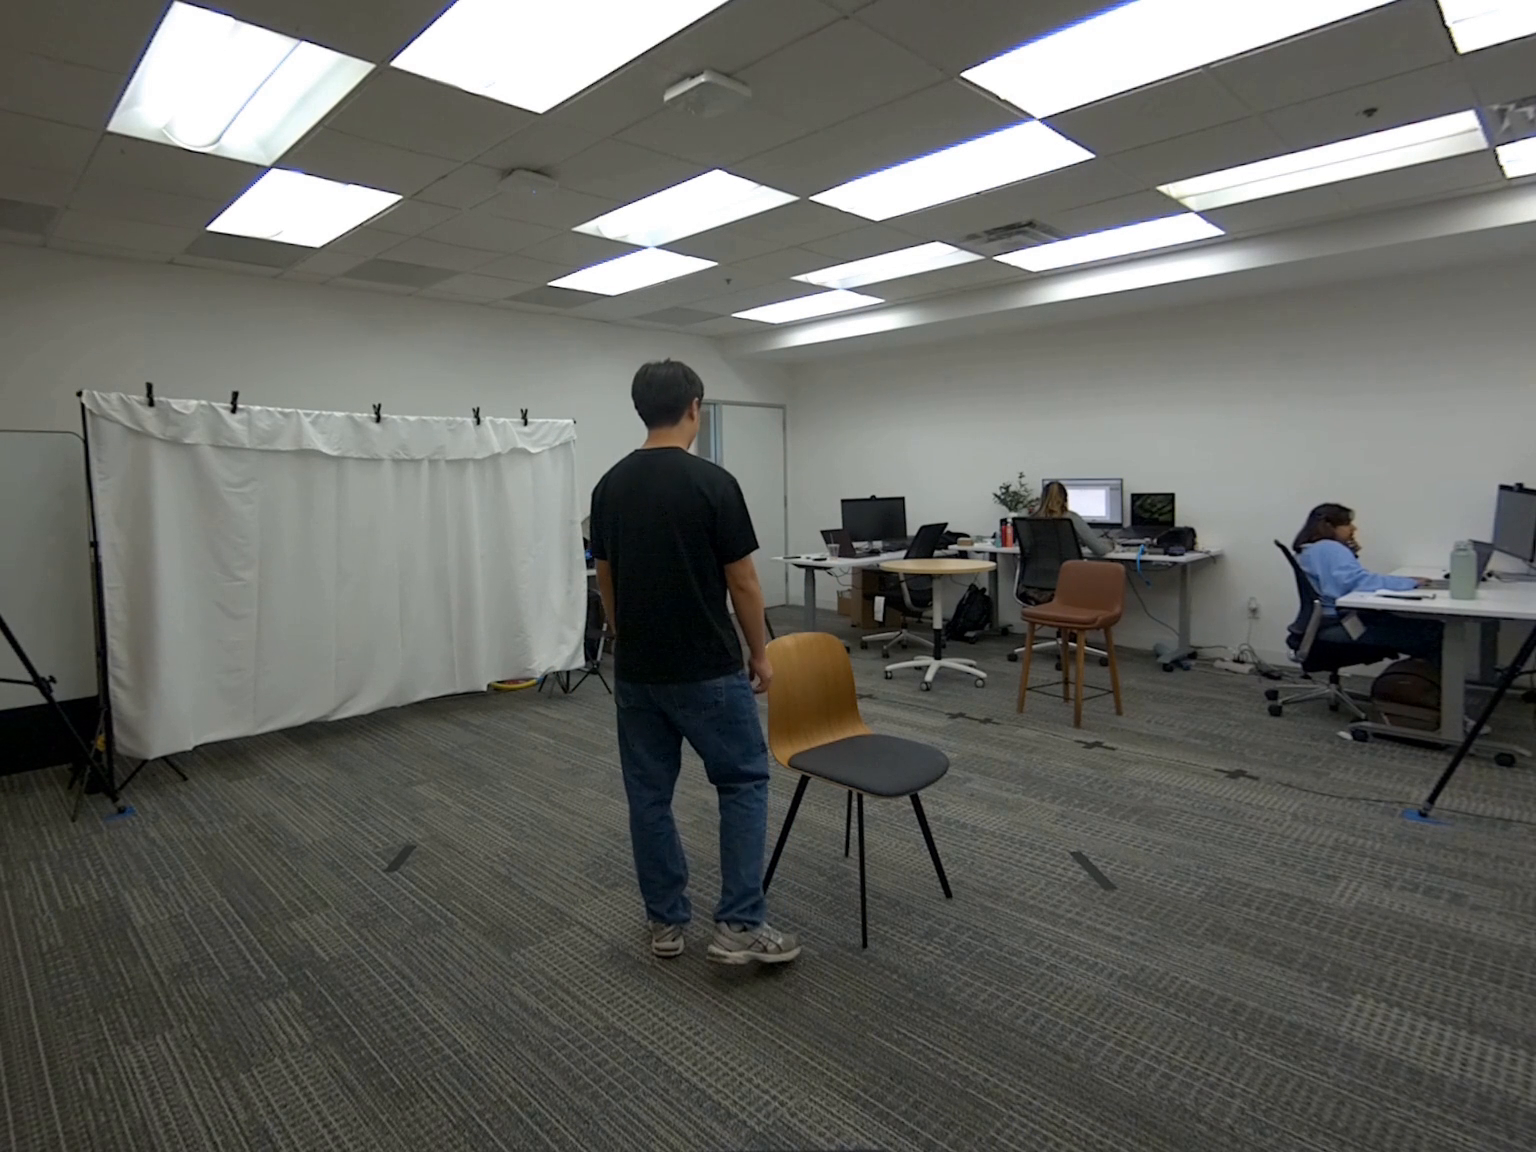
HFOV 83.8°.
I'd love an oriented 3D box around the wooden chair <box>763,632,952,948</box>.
[{"bbox_3d":[0.293,0.644,2.808,0.465,0.877,0.538,-5,2,-43],"label":"wooden chair"}]
